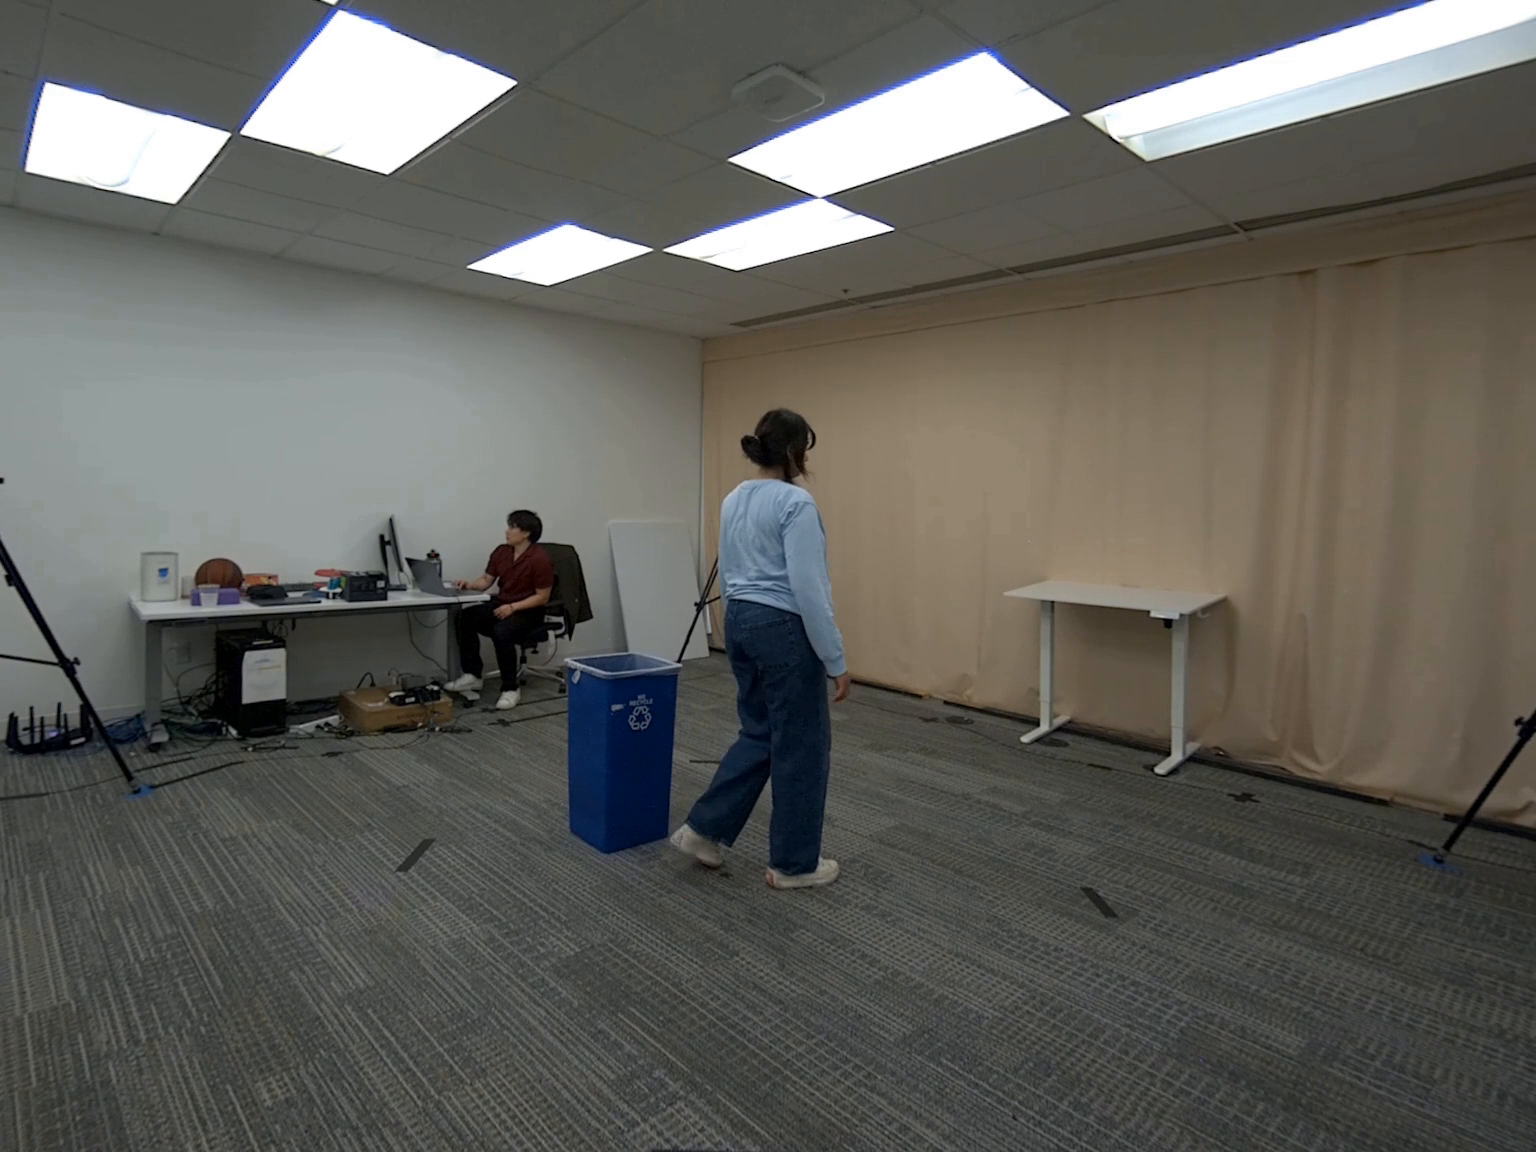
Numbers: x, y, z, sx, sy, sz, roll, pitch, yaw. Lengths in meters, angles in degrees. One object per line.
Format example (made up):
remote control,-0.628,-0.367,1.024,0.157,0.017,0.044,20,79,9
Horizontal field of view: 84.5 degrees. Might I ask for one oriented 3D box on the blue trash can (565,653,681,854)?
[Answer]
blue trash can,-0.607,0.706,3.458,0.365,0.712,0.388,-1,5,-41
